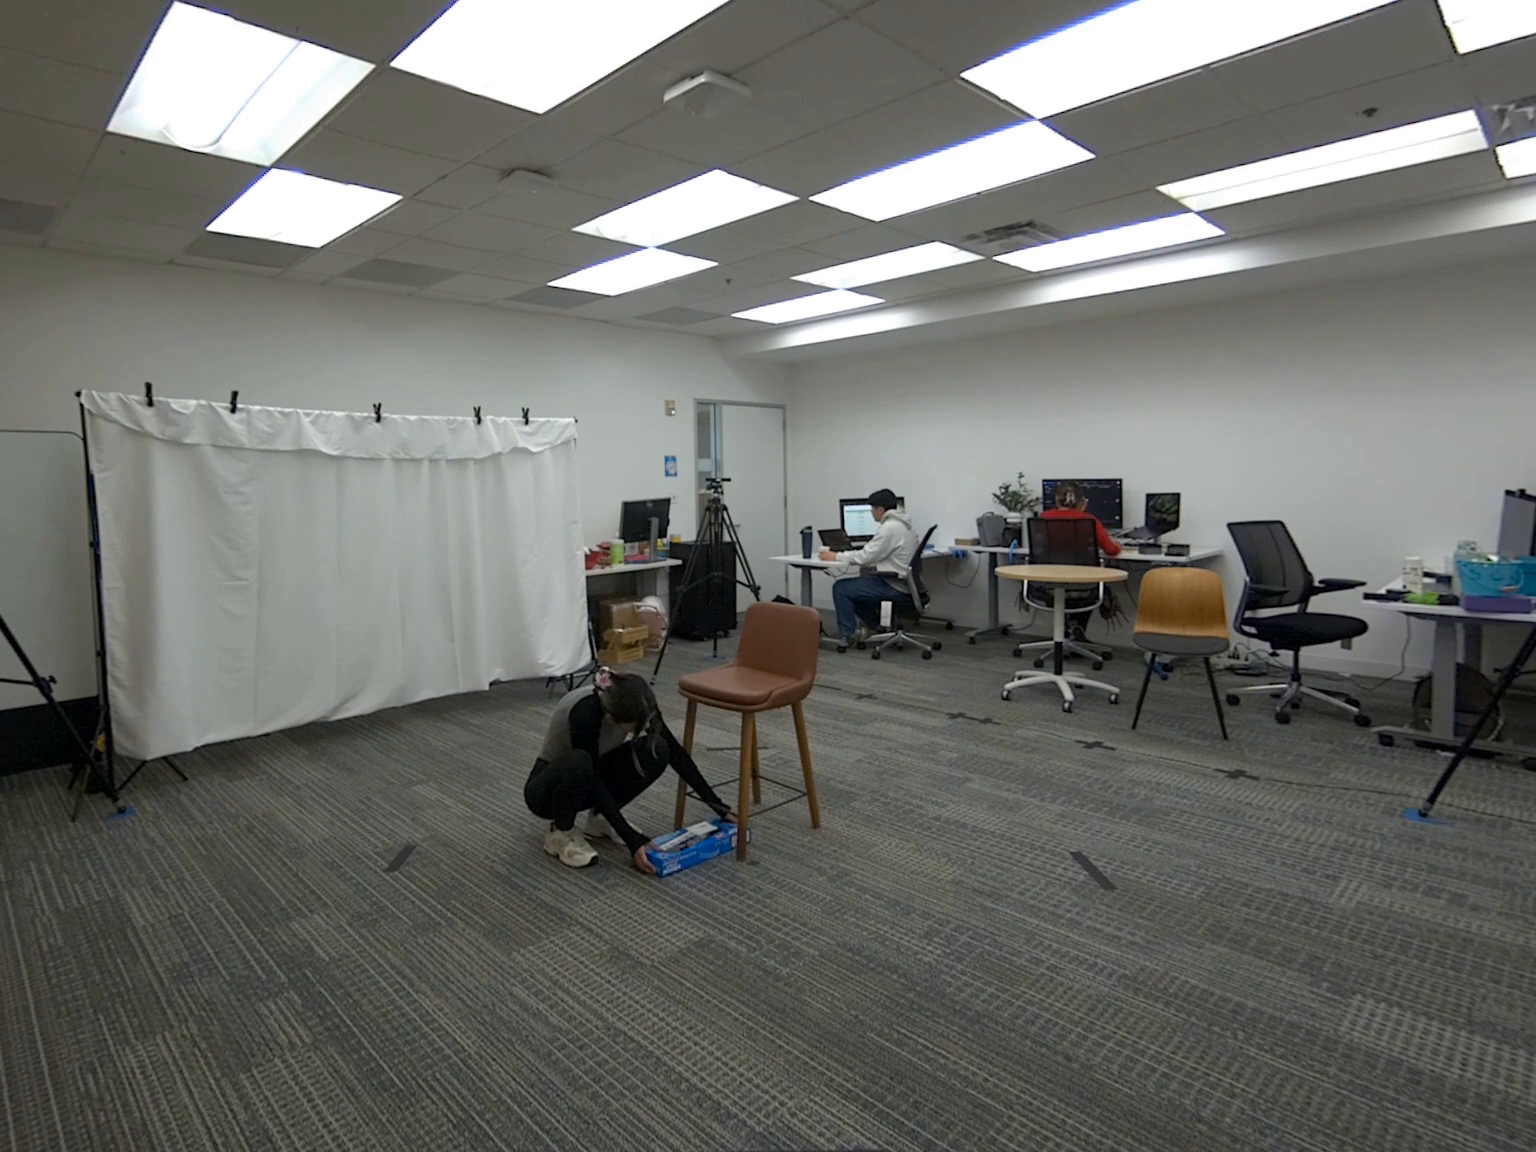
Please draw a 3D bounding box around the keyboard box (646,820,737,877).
[{"bbox_3d":[-0.282,1.000,3.201,0.425,0.059,0.181,-5,8,-43],"label":"keyboard box"}]
